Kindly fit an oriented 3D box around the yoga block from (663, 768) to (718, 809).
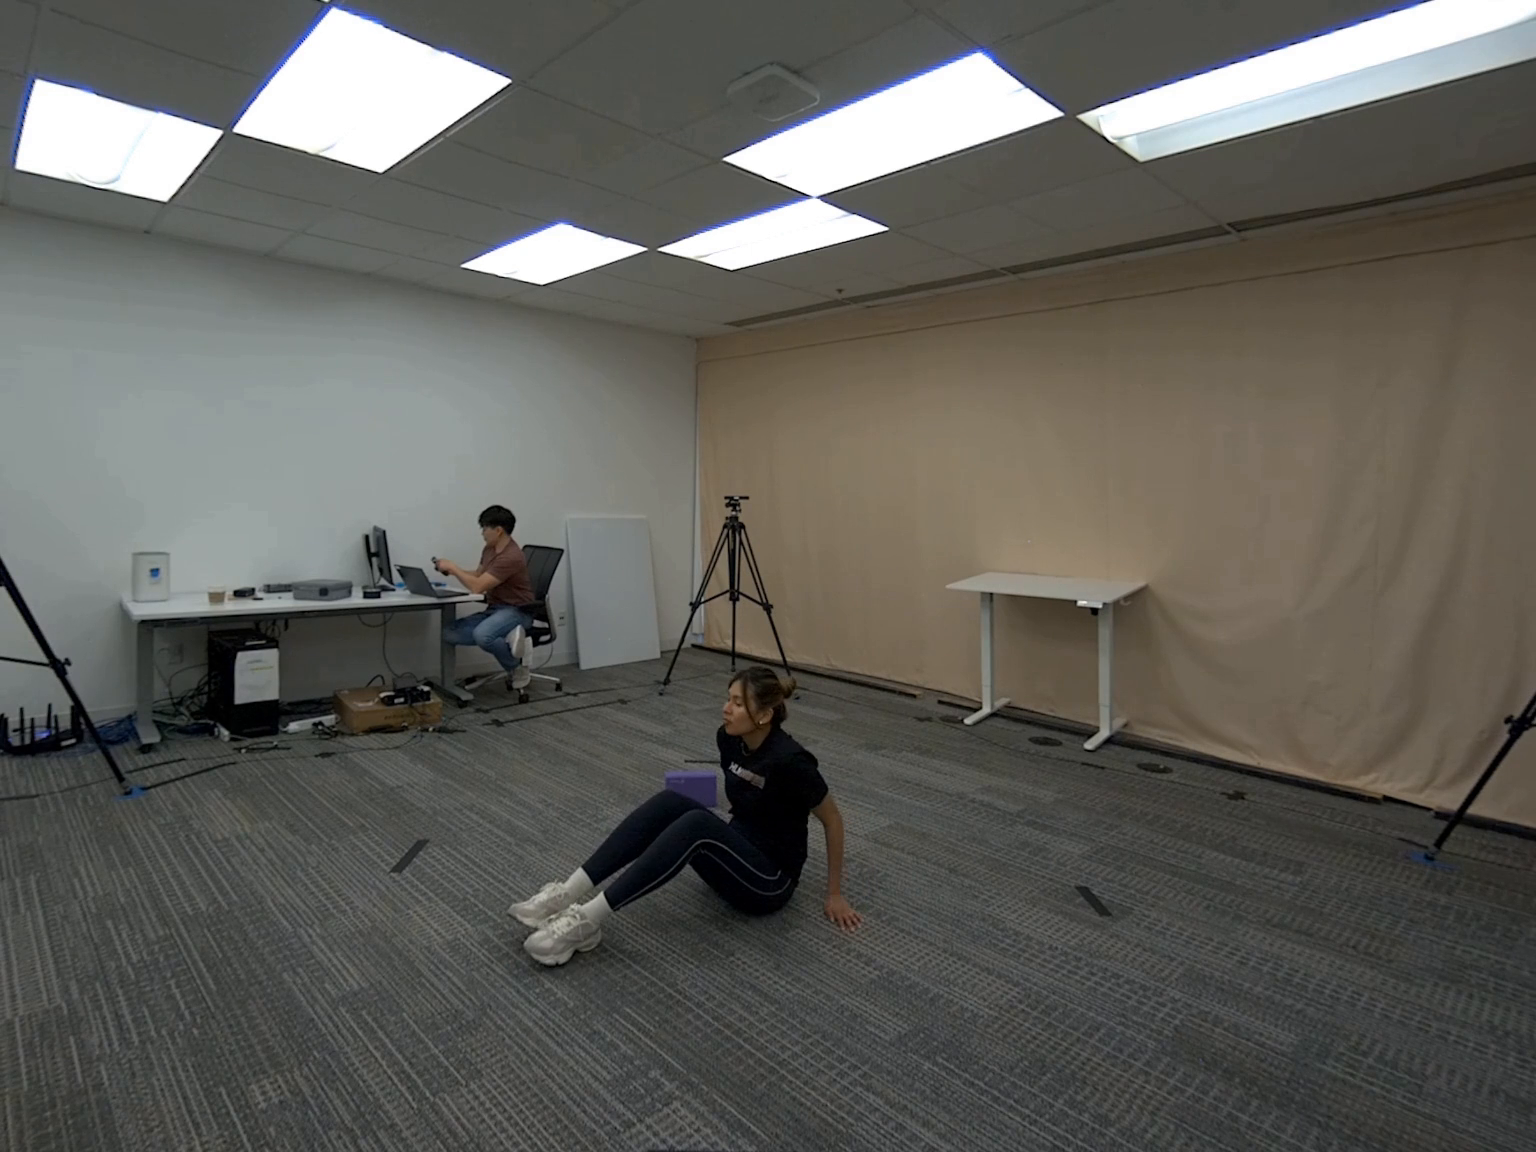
[{"bbox_3d":[-0.353,0.963,3.802,0.228,0.149,0.077,0,0,-5],"label":"yoga block"}]
